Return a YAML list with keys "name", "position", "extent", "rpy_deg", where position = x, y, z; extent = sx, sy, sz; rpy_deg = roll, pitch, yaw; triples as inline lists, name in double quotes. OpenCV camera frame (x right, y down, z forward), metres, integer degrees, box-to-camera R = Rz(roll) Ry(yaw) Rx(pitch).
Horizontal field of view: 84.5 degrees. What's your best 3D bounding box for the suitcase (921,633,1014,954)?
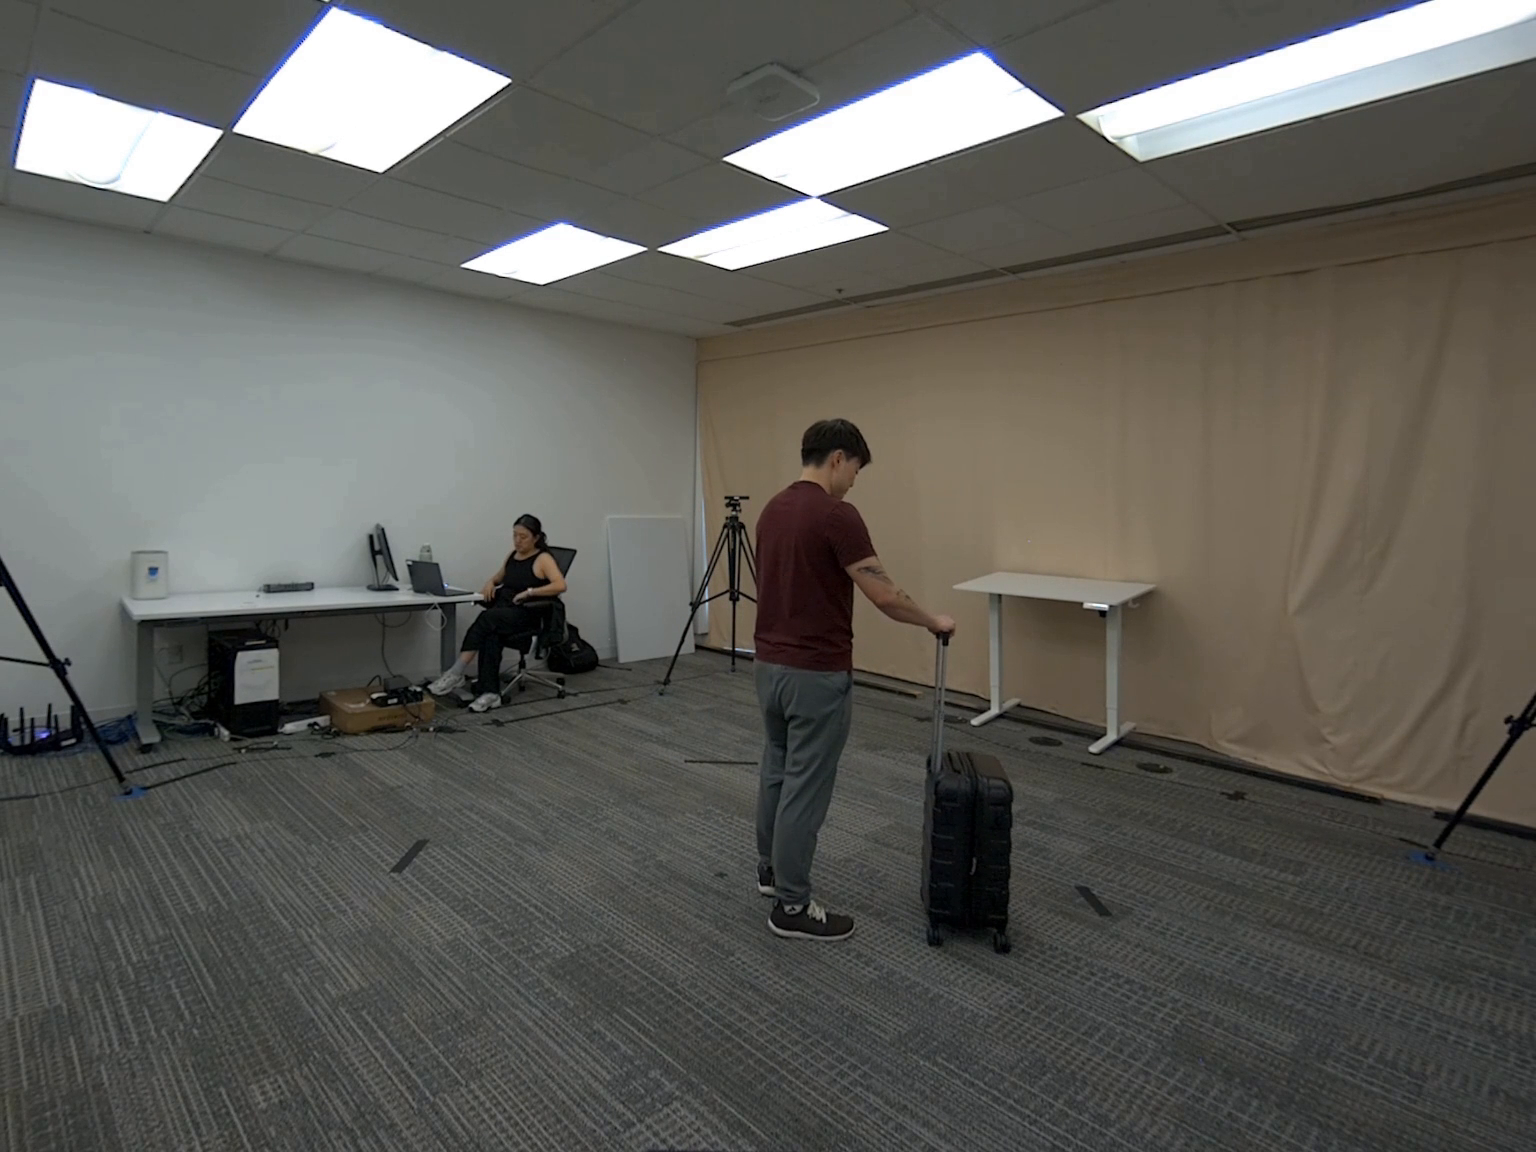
- name: "suitcase"
  position: [0.654, 0.674, 2.776]
  extent: [0.258, 0.976, 0.382]
  rpy_deg: [3, 3, 6]
